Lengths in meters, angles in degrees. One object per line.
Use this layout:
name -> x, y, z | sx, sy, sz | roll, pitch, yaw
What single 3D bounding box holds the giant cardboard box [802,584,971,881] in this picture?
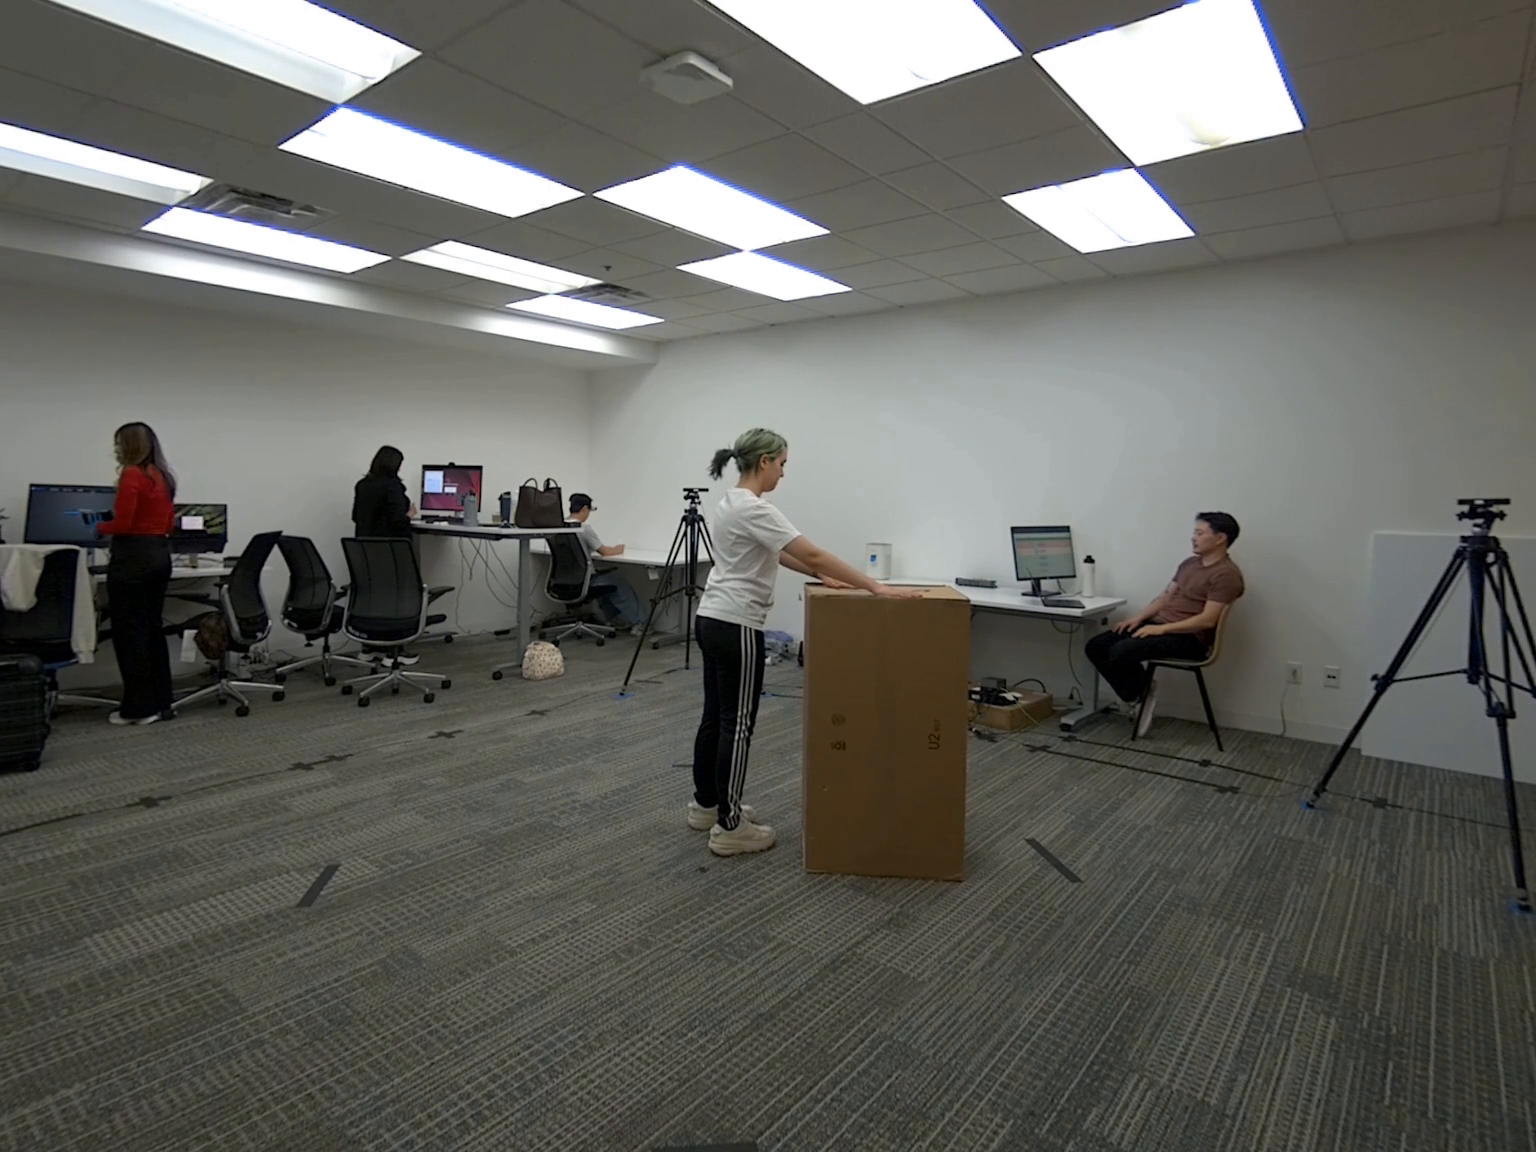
giant cardboard box -> 0.426, 0.561, 3.259 | 0.586, 1.023, 0.447 | 0, 4, 2
